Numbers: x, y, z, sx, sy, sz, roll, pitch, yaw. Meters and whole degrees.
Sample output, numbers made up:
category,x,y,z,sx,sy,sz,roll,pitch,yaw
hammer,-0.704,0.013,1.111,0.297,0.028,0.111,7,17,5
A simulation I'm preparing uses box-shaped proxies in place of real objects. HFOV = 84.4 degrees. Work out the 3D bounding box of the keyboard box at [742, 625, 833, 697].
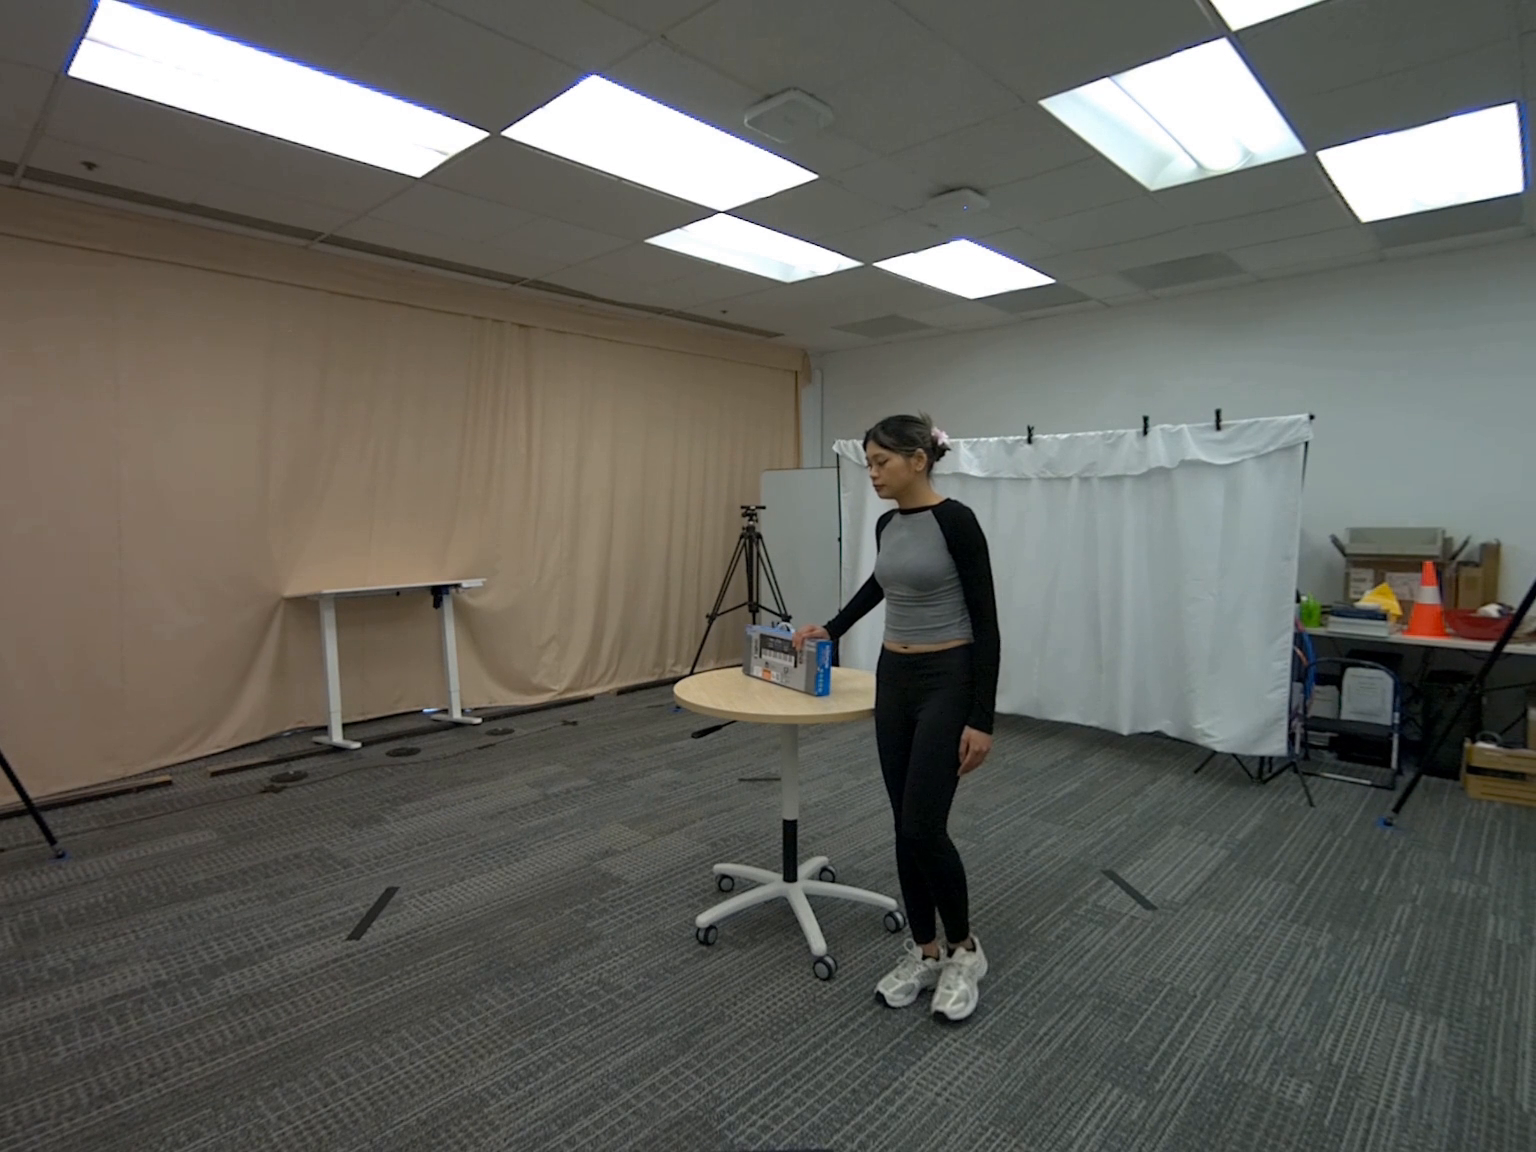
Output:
category,x,y,z,sx,sy,sz,roll,pitch,yaw
keyboard box,0.060,0.278,2.826,0.057,0.176,0.450,0,4,-32
